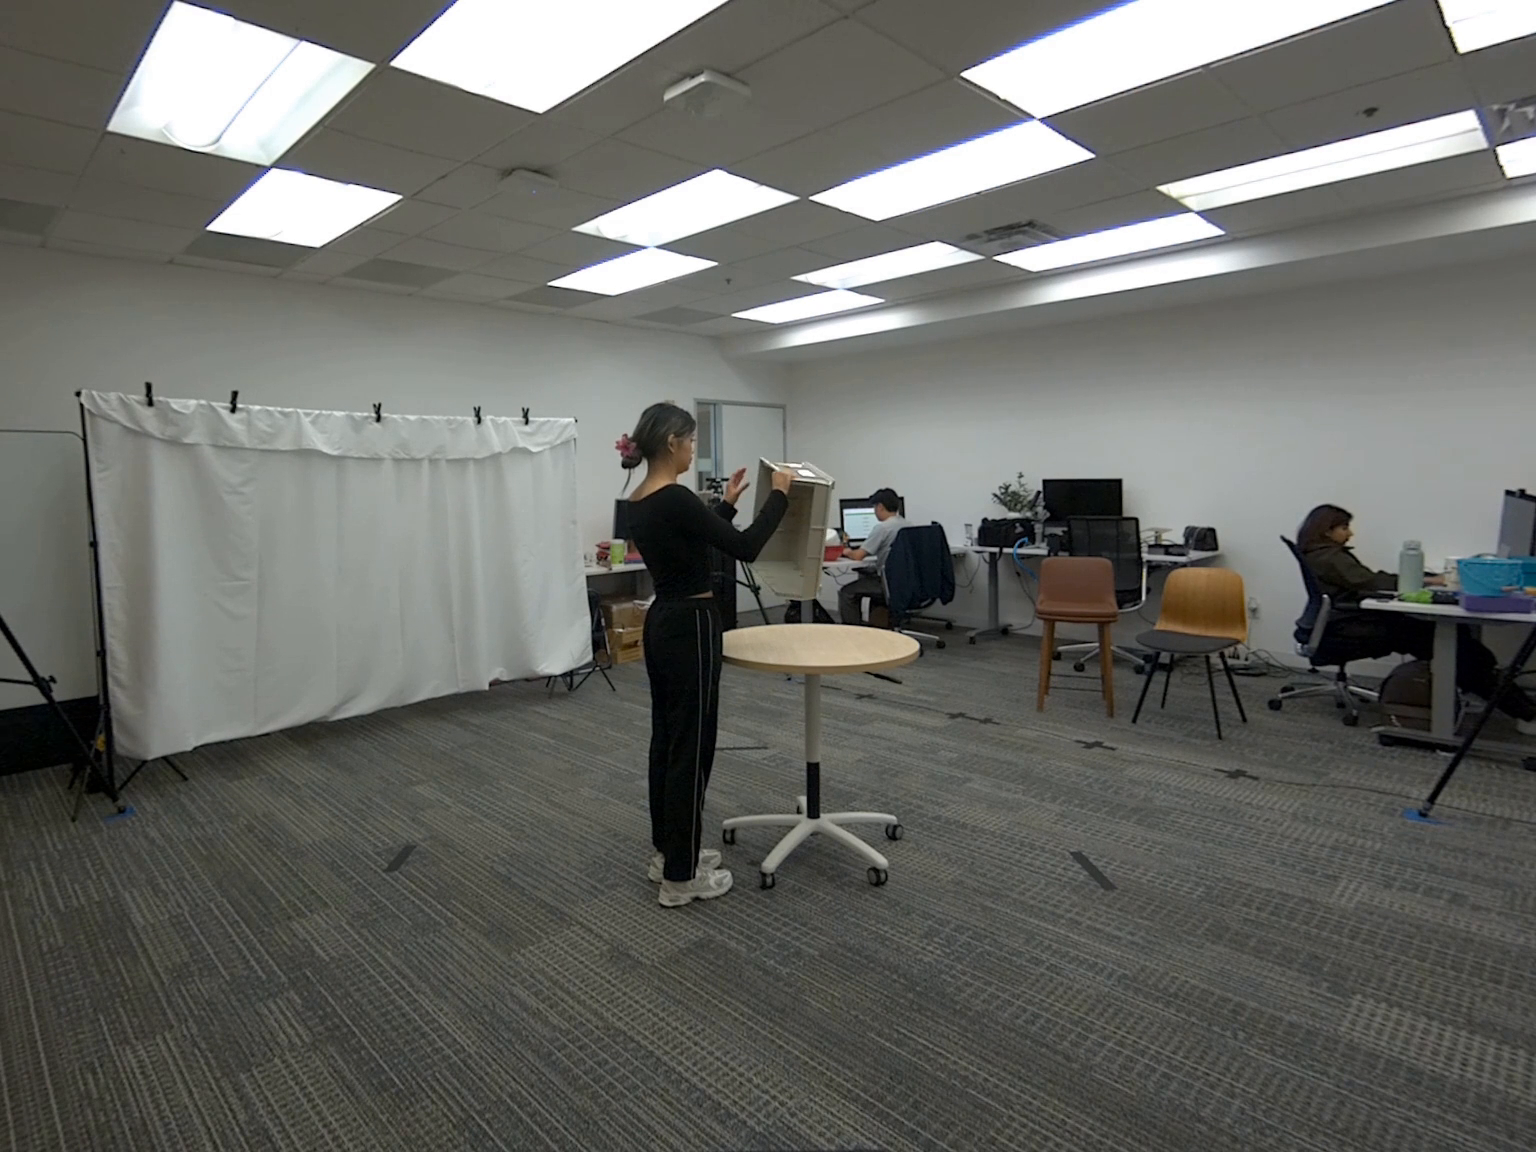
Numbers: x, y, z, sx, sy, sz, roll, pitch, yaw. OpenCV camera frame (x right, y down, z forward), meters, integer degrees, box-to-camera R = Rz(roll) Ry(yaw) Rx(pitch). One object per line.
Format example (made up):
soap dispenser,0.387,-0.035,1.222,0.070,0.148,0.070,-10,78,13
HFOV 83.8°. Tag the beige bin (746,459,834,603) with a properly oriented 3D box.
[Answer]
beige bin,0.066,-0.174,3.048,0.186,0.417,0.388,3,17,-16
